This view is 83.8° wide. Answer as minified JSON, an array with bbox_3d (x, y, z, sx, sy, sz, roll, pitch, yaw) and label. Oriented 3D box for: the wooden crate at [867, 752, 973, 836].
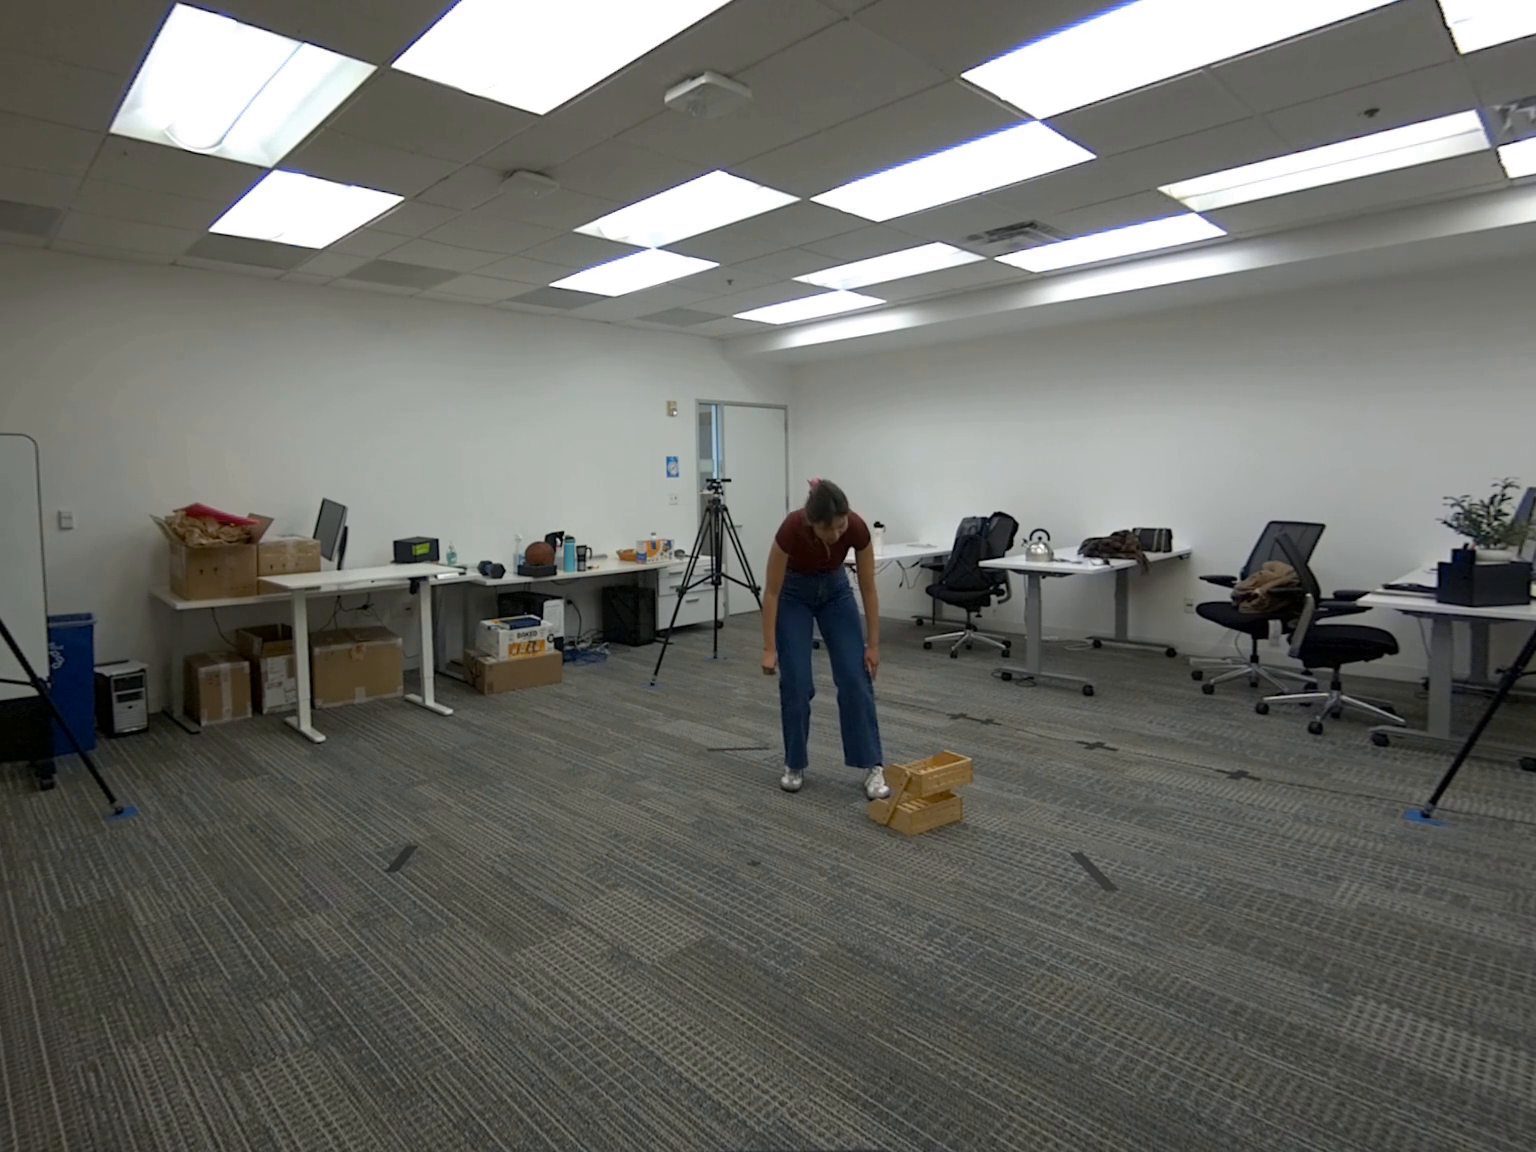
[{"bbox_3d":[0.610,0.856,3.476,0.316,0.272,0.311,-4,6,-35],"label":"wooden crate"}]
